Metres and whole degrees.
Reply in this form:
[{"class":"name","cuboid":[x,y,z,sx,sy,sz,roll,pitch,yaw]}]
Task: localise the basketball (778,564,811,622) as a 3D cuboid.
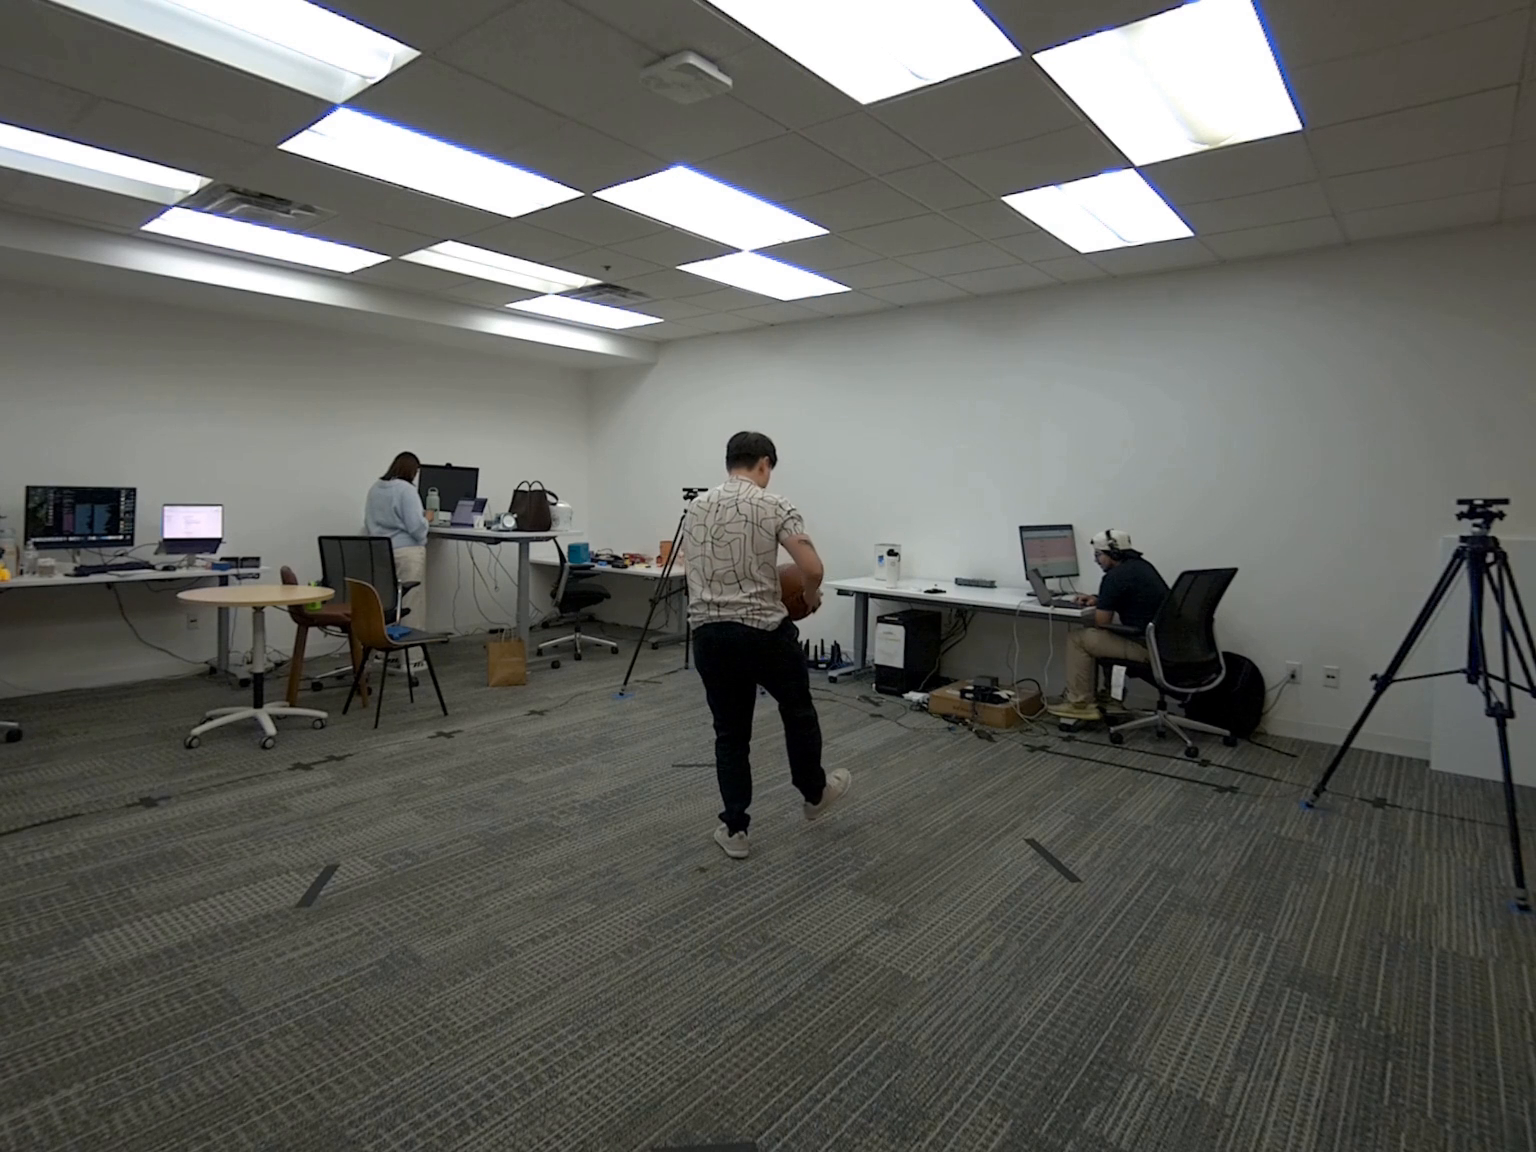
[{"class":"basketball","cuboid":[0.071,0.075,3.472,0.235,0.235,0.237,1,4,-2]}]
